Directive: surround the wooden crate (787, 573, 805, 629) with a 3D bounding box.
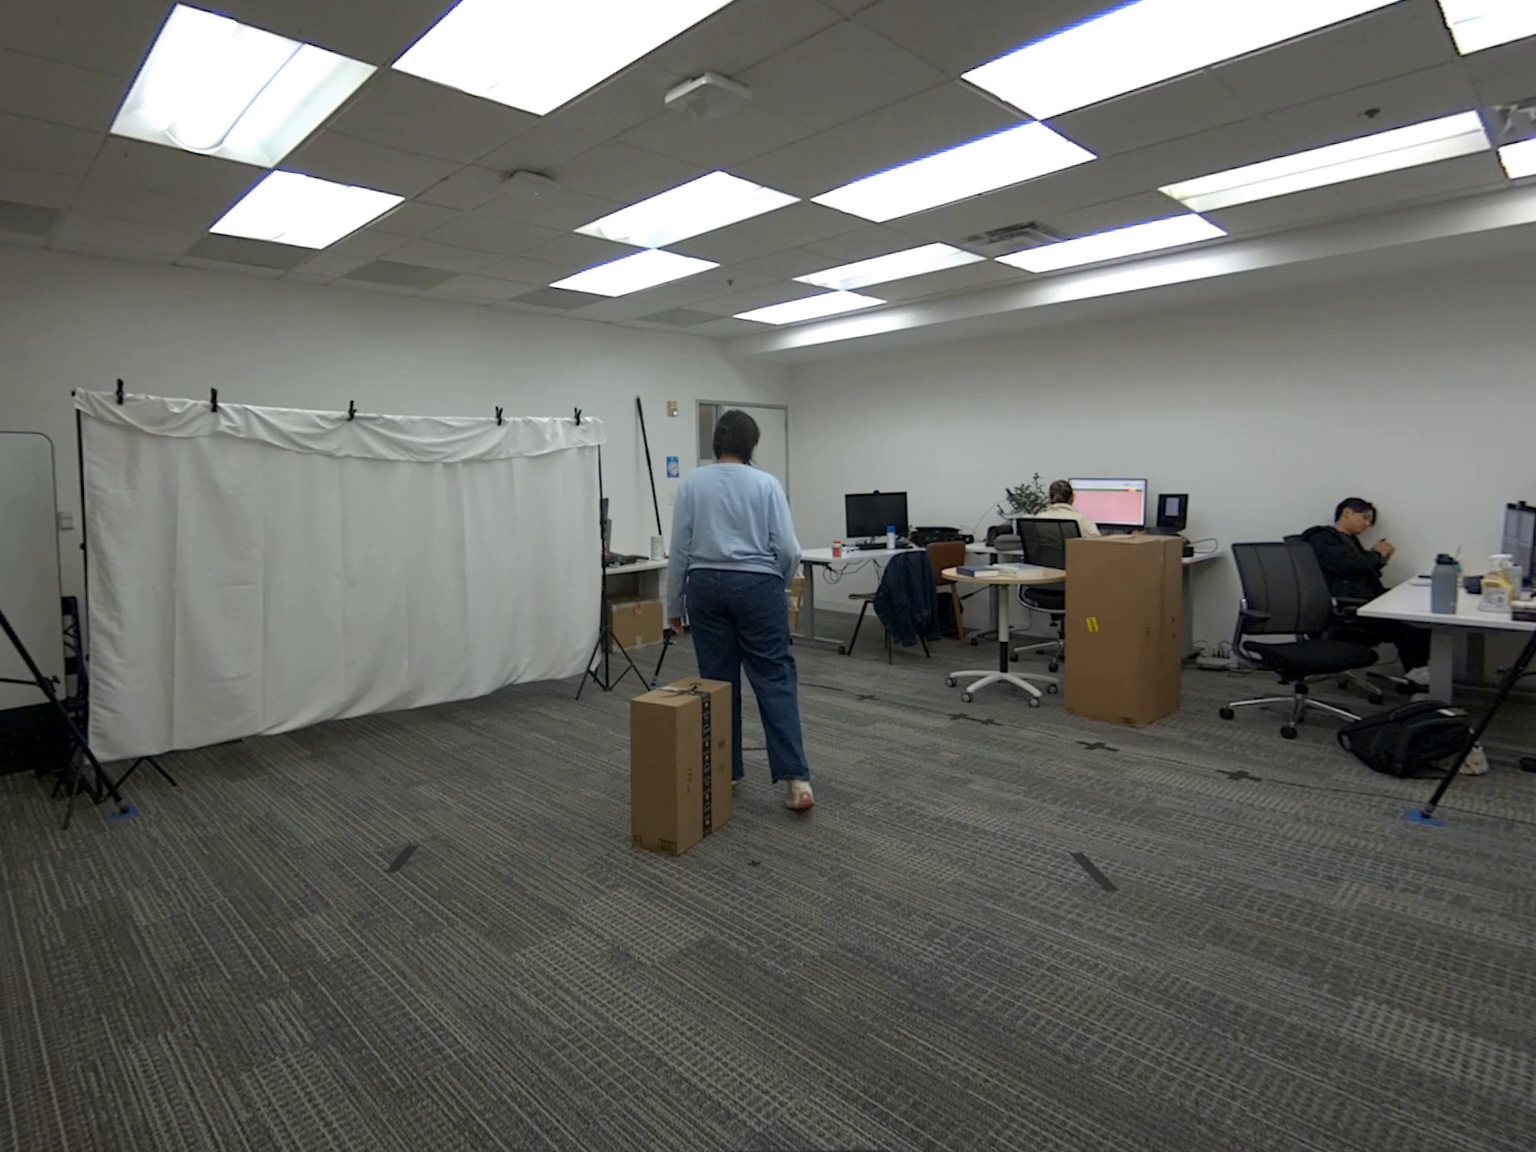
[{"bbox_3d":[0.004,0.091,4.086,0.324,0.271,0.305,4,11,-2],"label":"wooden crate"}]
